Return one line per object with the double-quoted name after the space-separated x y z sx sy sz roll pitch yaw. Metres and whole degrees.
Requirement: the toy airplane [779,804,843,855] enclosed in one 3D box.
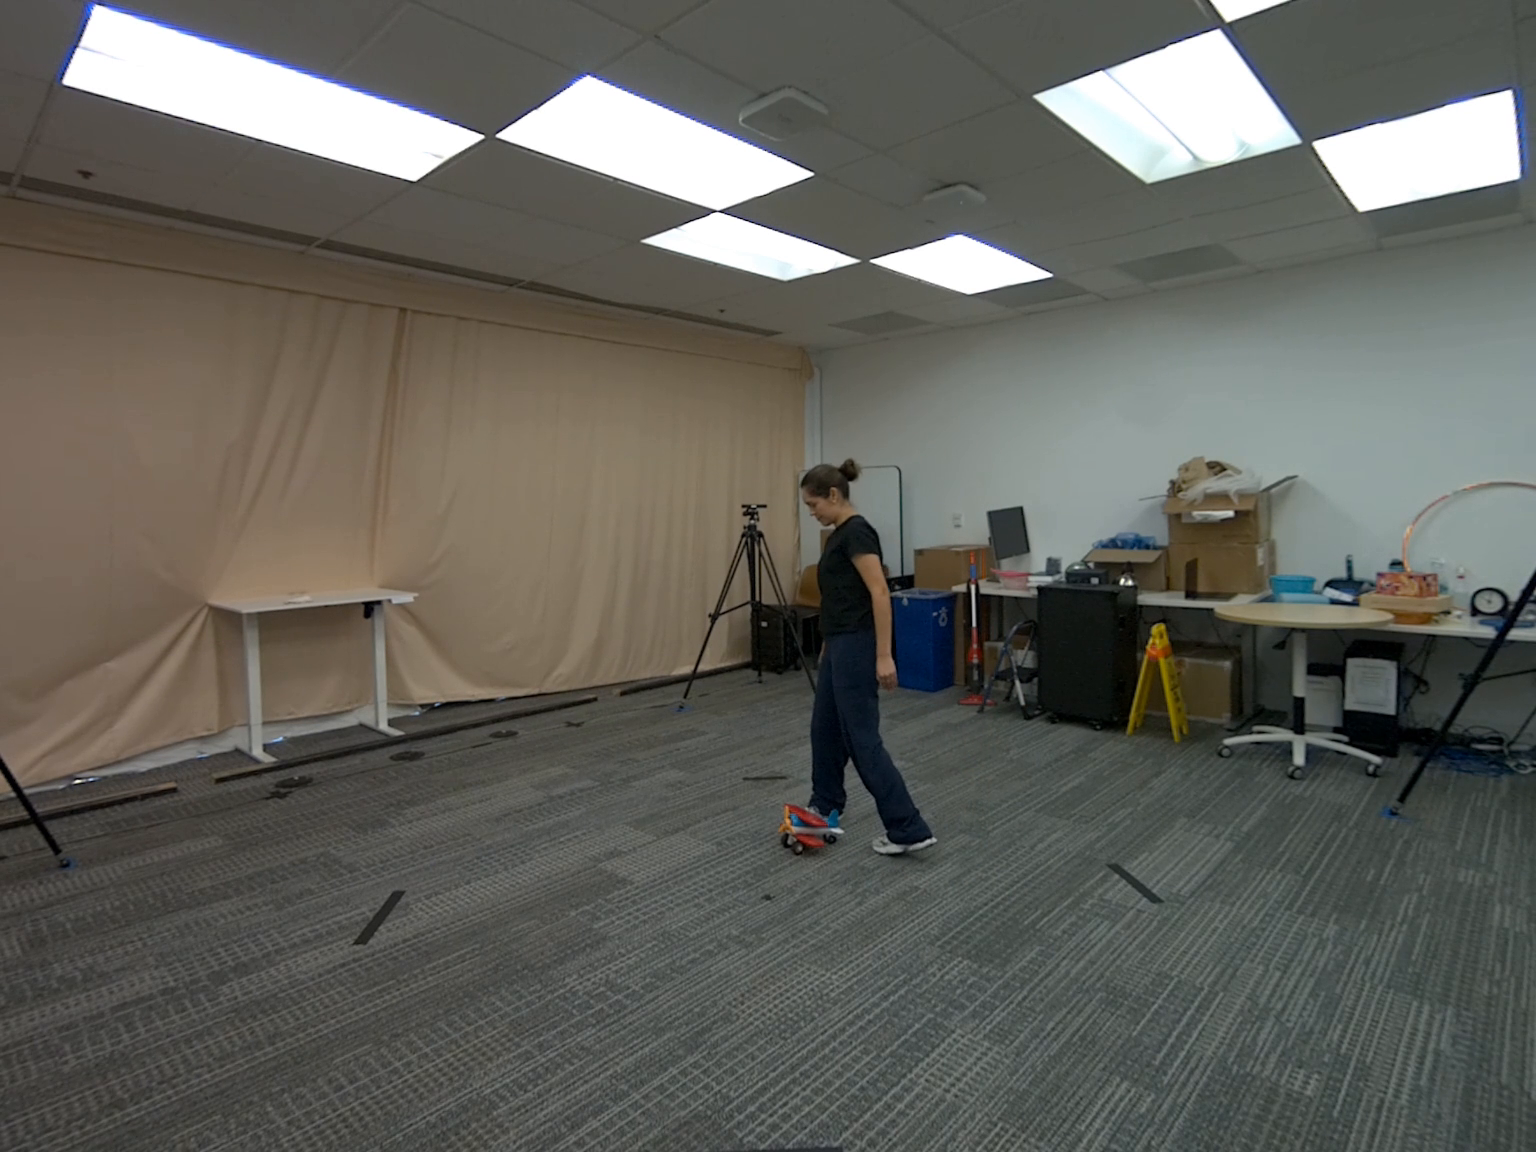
0.180 1.027 3.435 0.259 0.156 0.252 3 7 33 "toy airplane"
